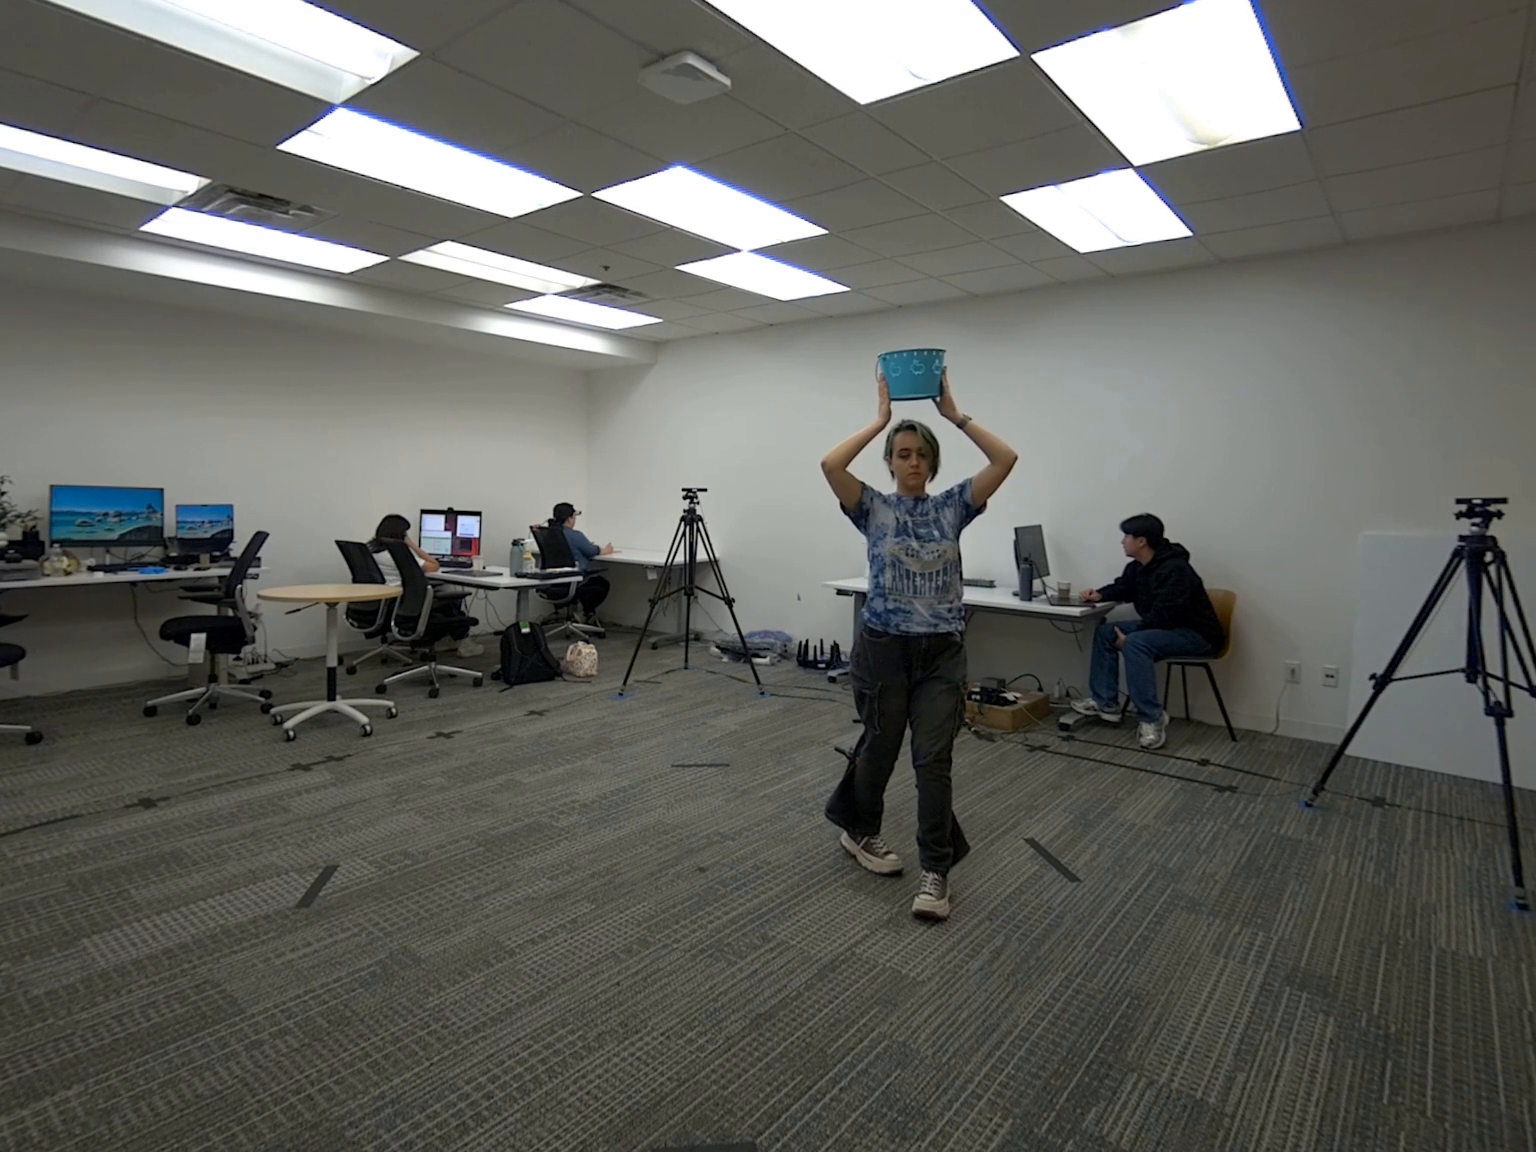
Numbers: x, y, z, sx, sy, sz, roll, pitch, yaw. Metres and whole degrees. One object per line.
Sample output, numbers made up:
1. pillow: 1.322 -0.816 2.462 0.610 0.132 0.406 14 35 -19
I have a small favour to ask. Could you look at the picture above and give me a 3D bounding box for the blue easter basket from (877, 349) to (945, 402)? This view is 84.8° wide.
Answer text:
1. blue easter basket: 0.498 -0.689 2.912 0.243 0.154 0.246 -3 9 -1
